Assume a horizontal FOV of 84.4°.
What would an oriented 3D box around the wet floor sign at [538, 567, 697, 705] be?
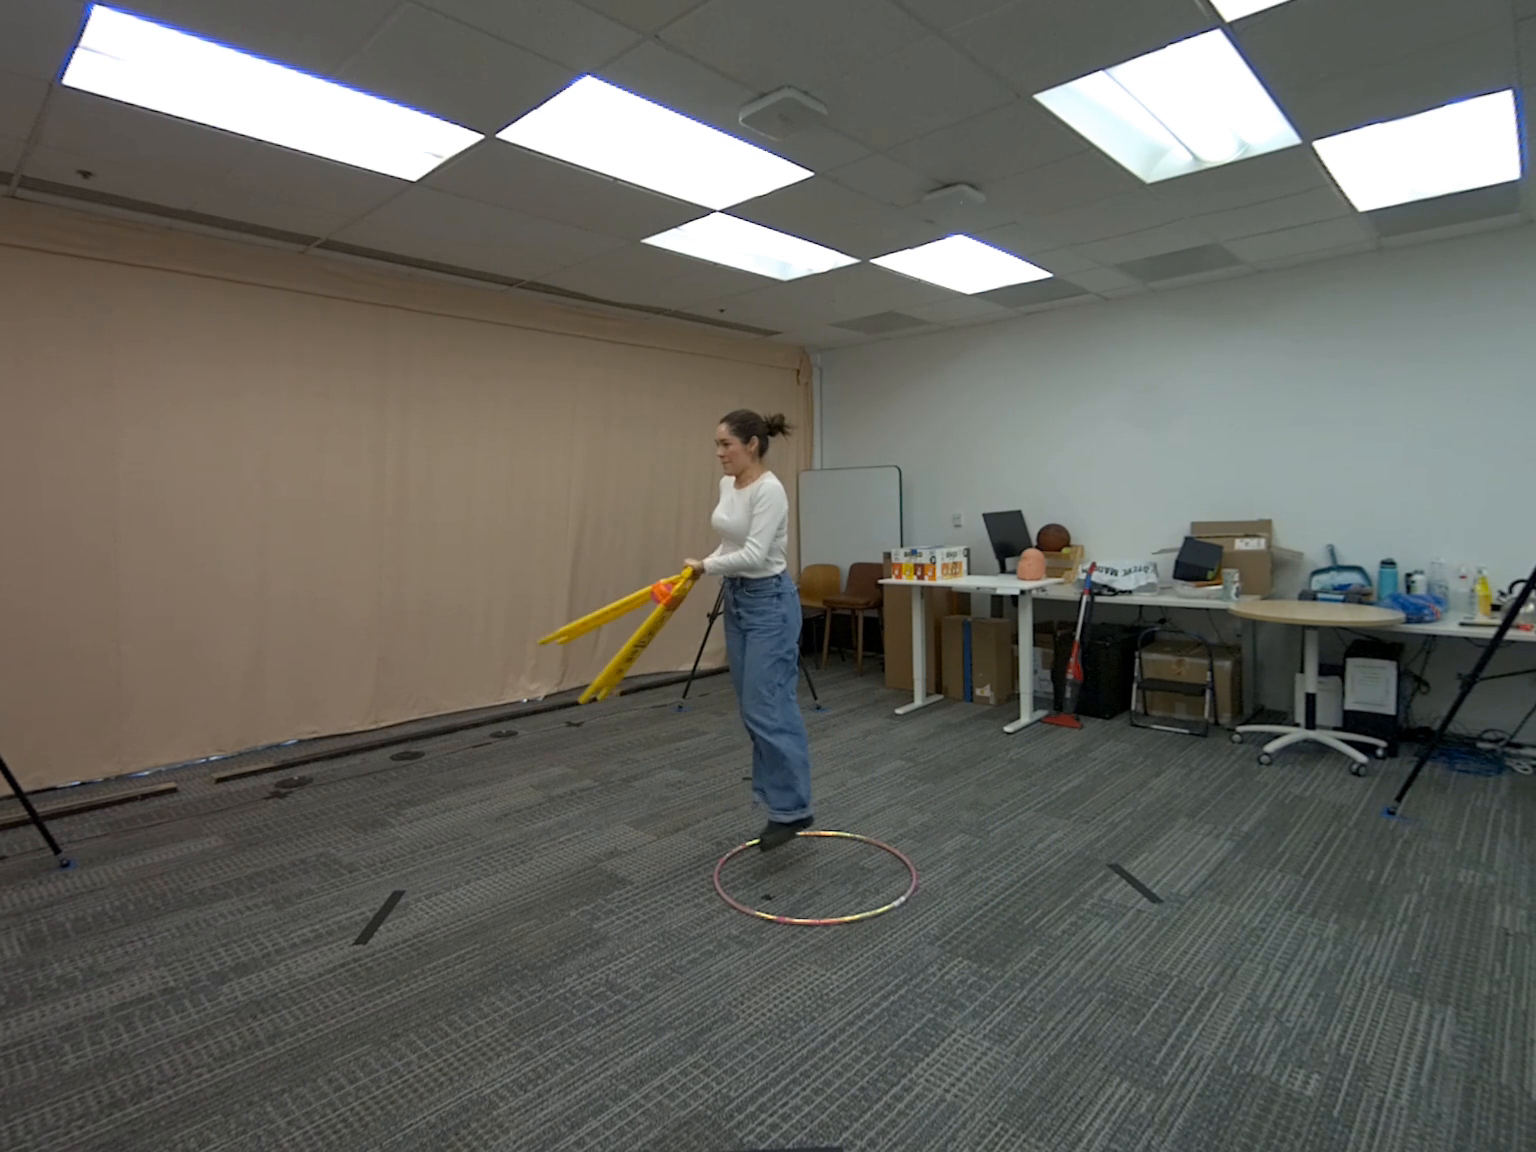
[{"bbox_3d":[-0.487,0.229,3.257,0.647,0.293,0.279,-38,-9,2],"label":"wet floor sign"}]
